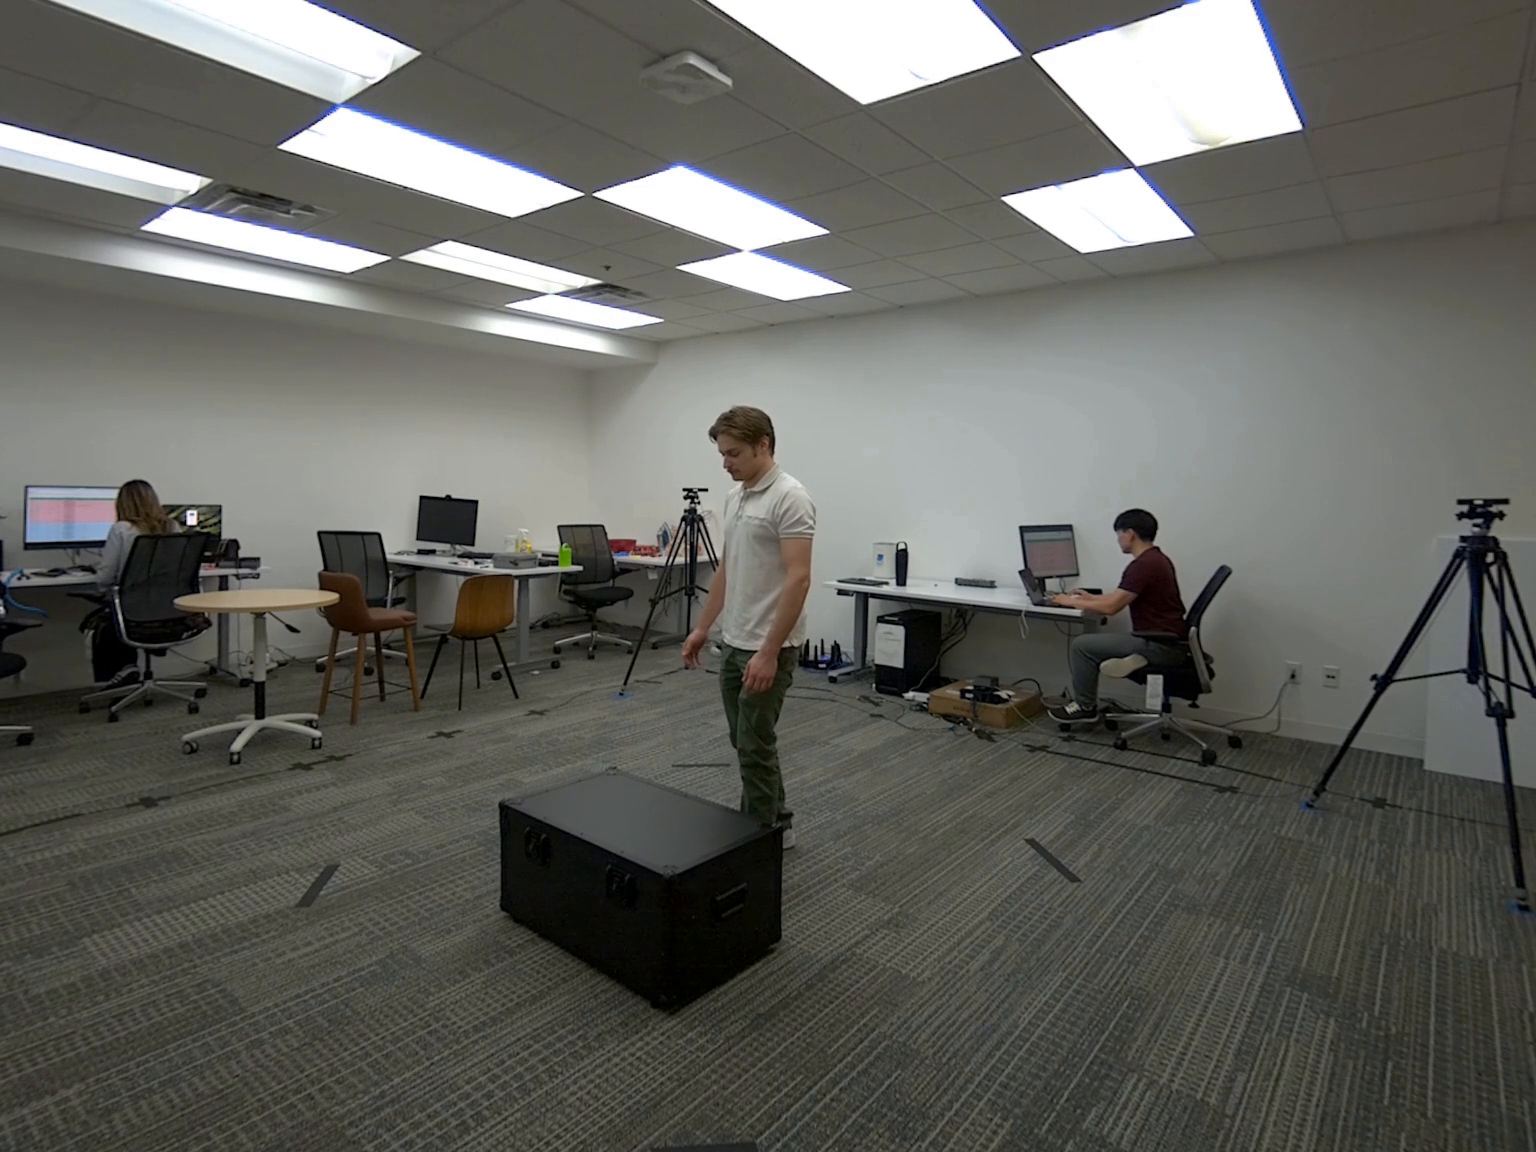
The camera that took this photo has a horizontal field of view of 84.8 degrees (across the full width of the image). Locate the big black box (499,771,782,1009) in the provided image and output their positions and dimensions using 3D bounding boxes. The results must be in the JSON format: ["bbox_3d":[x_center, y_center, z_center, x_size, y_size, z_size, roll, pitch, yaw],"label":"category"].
[{"bbox_3d":[-0.443,0.917,2.672,0.891,0.395,0.506,6,7,40],"label":"big black box"}]
